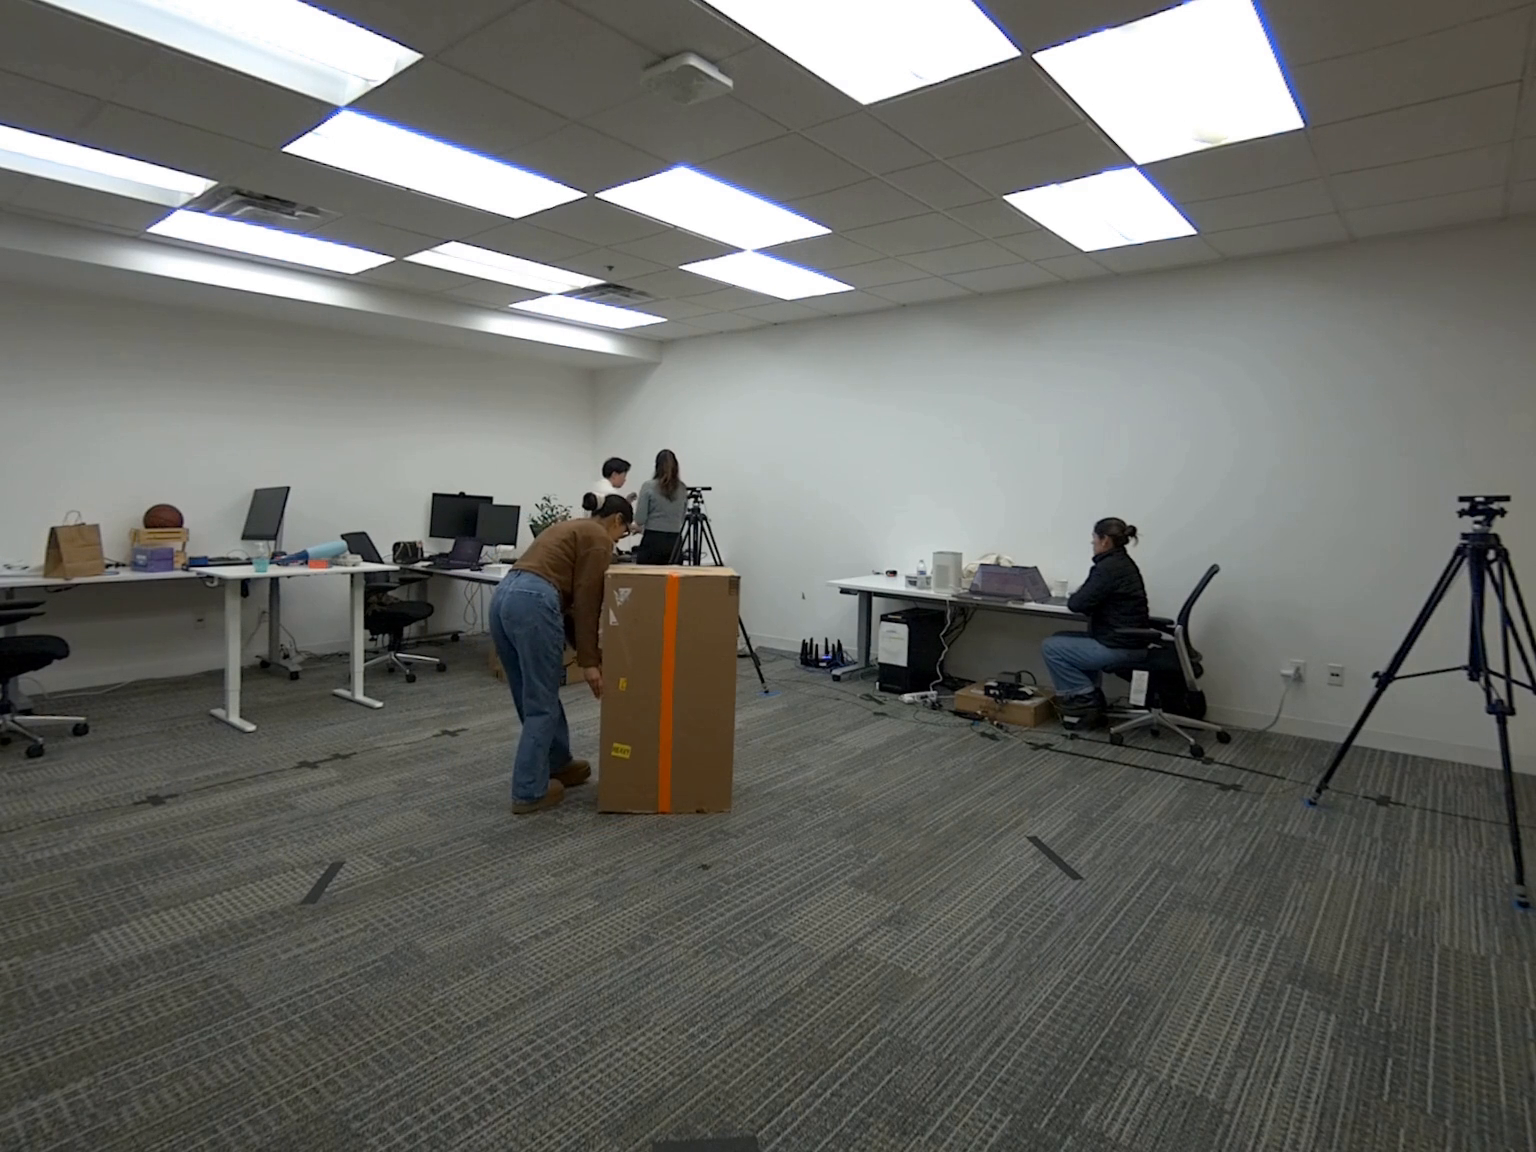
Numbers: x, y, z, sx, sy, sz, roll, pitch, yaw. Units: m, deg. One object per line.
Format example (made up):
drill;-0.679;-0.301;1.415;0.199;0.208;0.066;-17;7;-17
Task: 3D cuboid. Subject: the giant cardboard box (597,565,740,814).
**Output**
giant cardboard box;-0.462;0.483;3.810;0.573;1.023;0.430;2;3;-7
